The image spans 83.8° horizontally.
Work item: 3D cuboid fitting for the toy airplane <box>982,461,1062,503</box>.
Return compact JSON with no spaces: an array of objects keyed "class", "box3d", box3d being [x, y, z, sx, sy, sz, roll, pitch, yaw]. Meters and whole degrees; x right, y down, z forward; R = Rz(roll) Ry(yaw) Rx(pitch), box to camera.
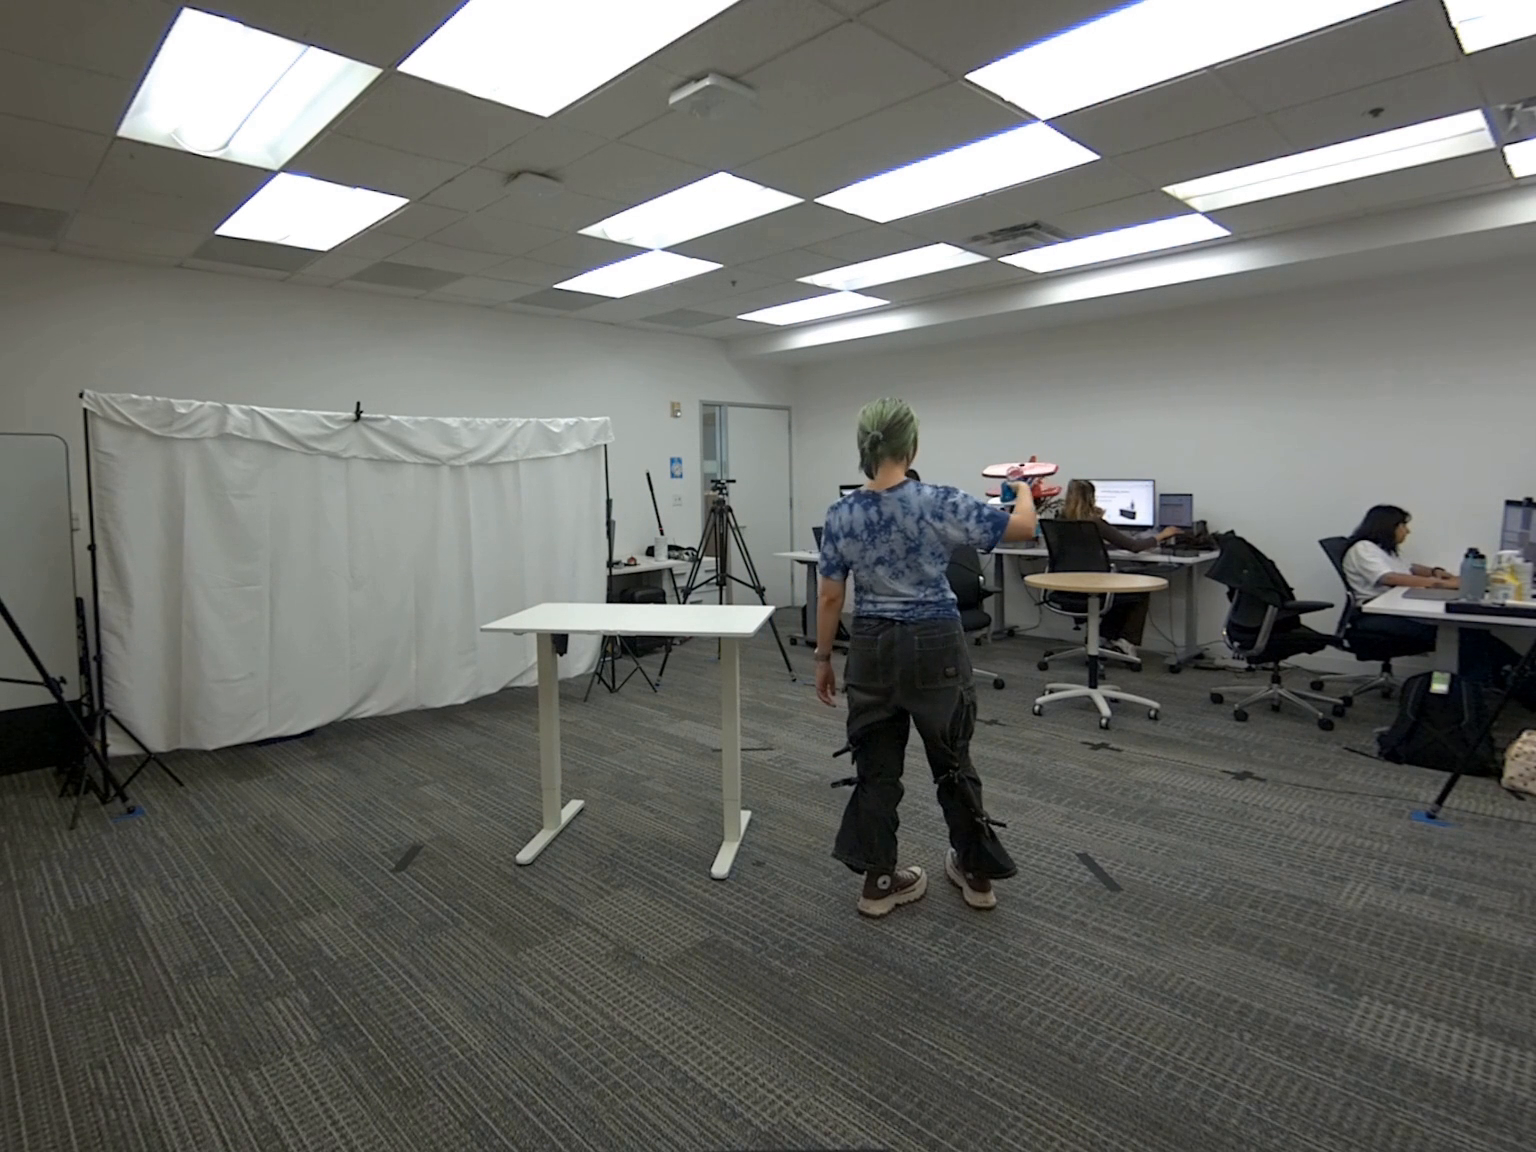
[{"class":"toy airplane","box3d":[0.873,-0.300,2.917,0.253,0.154,0.260,-6,14,11]}]
